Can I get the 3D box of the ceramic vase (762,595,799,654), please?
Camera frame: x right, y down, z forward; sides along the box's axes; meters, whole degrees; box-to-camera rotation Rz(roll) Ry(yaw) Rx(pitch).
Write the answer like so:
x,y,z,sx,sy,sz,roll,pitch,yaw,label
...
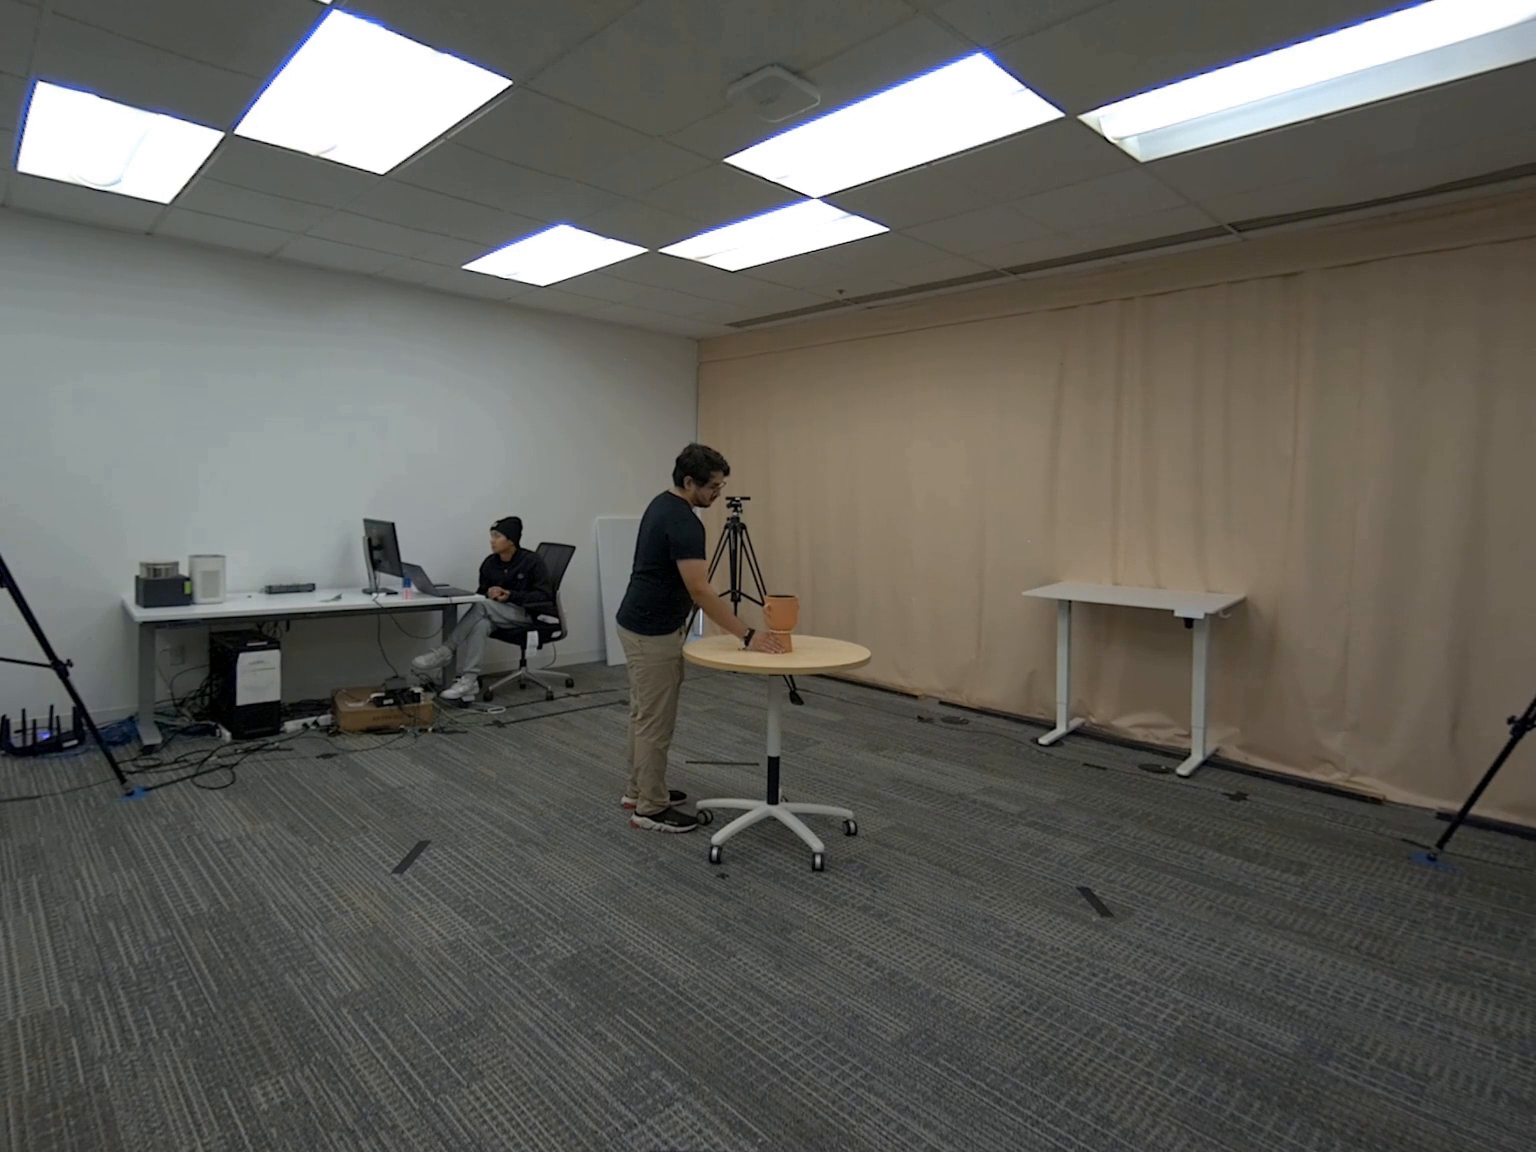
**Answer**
x,y,z,sx,sy,sz,roll,pitch,yaw,label
0.040,0.195,3.407,0.158,0.219,0.135,2,3,-6,ceramic vase
